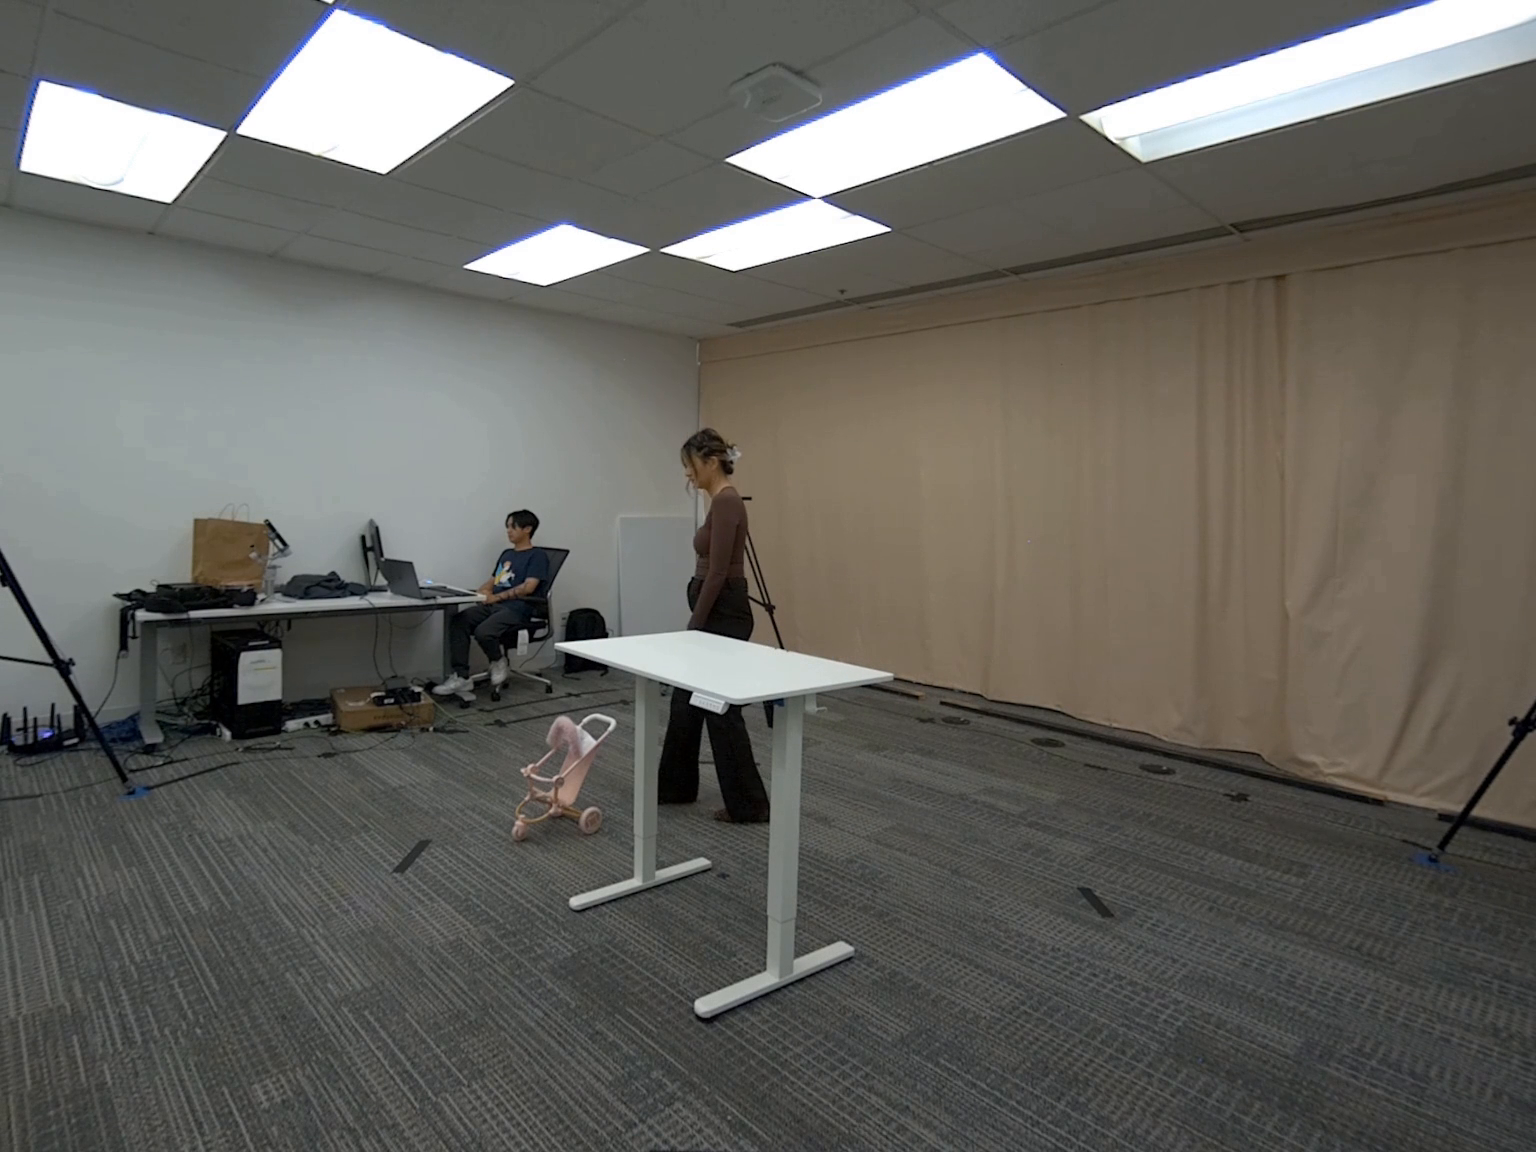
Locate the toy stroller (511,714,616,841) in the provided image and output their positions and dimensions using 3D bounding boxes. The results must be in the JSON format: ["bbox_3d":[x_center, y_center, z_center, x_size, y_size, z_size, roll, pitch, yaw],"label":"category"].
[{"bbox_3d":[-0.869,0.830,3.498,0.331,0.537,0.289,18,-8,-41],"label":"toy stroller"}]
